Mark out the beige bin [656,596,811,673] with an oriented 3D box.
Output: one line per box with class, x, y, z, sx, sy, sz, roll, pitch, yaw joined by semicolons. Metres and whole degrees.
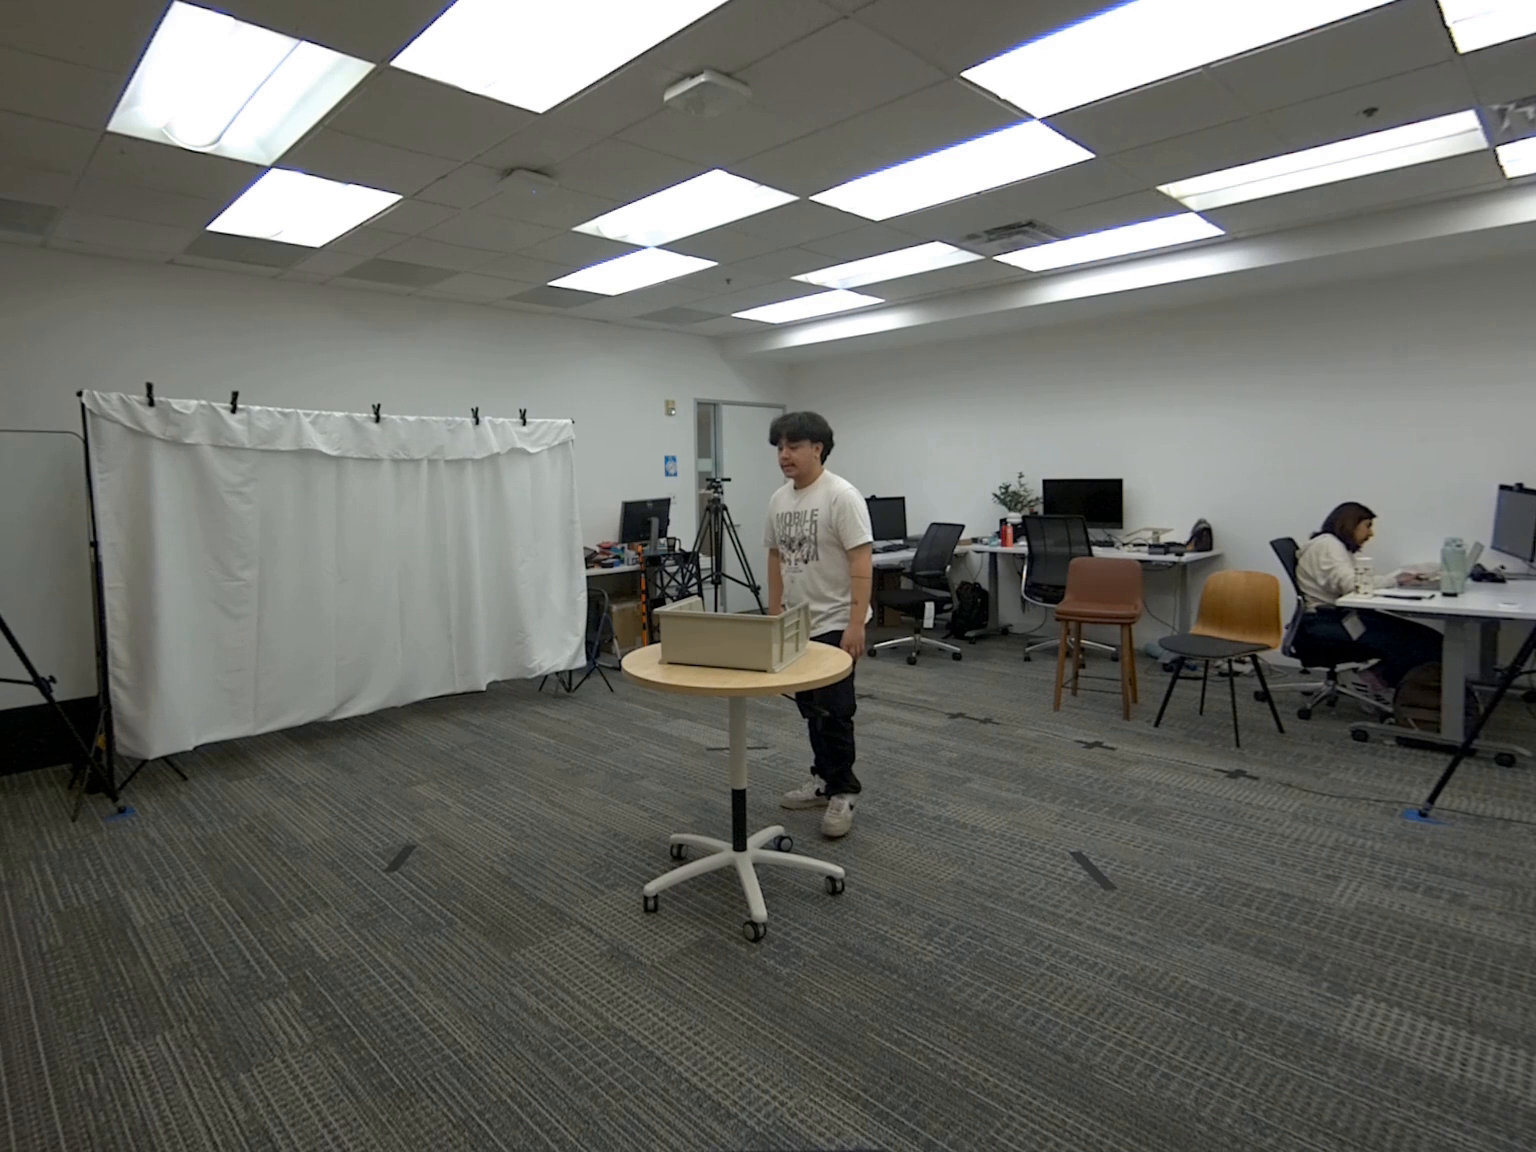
beige bin;-0.108;0.186;2.859;0.431;0.188;0.372;2;8;21
